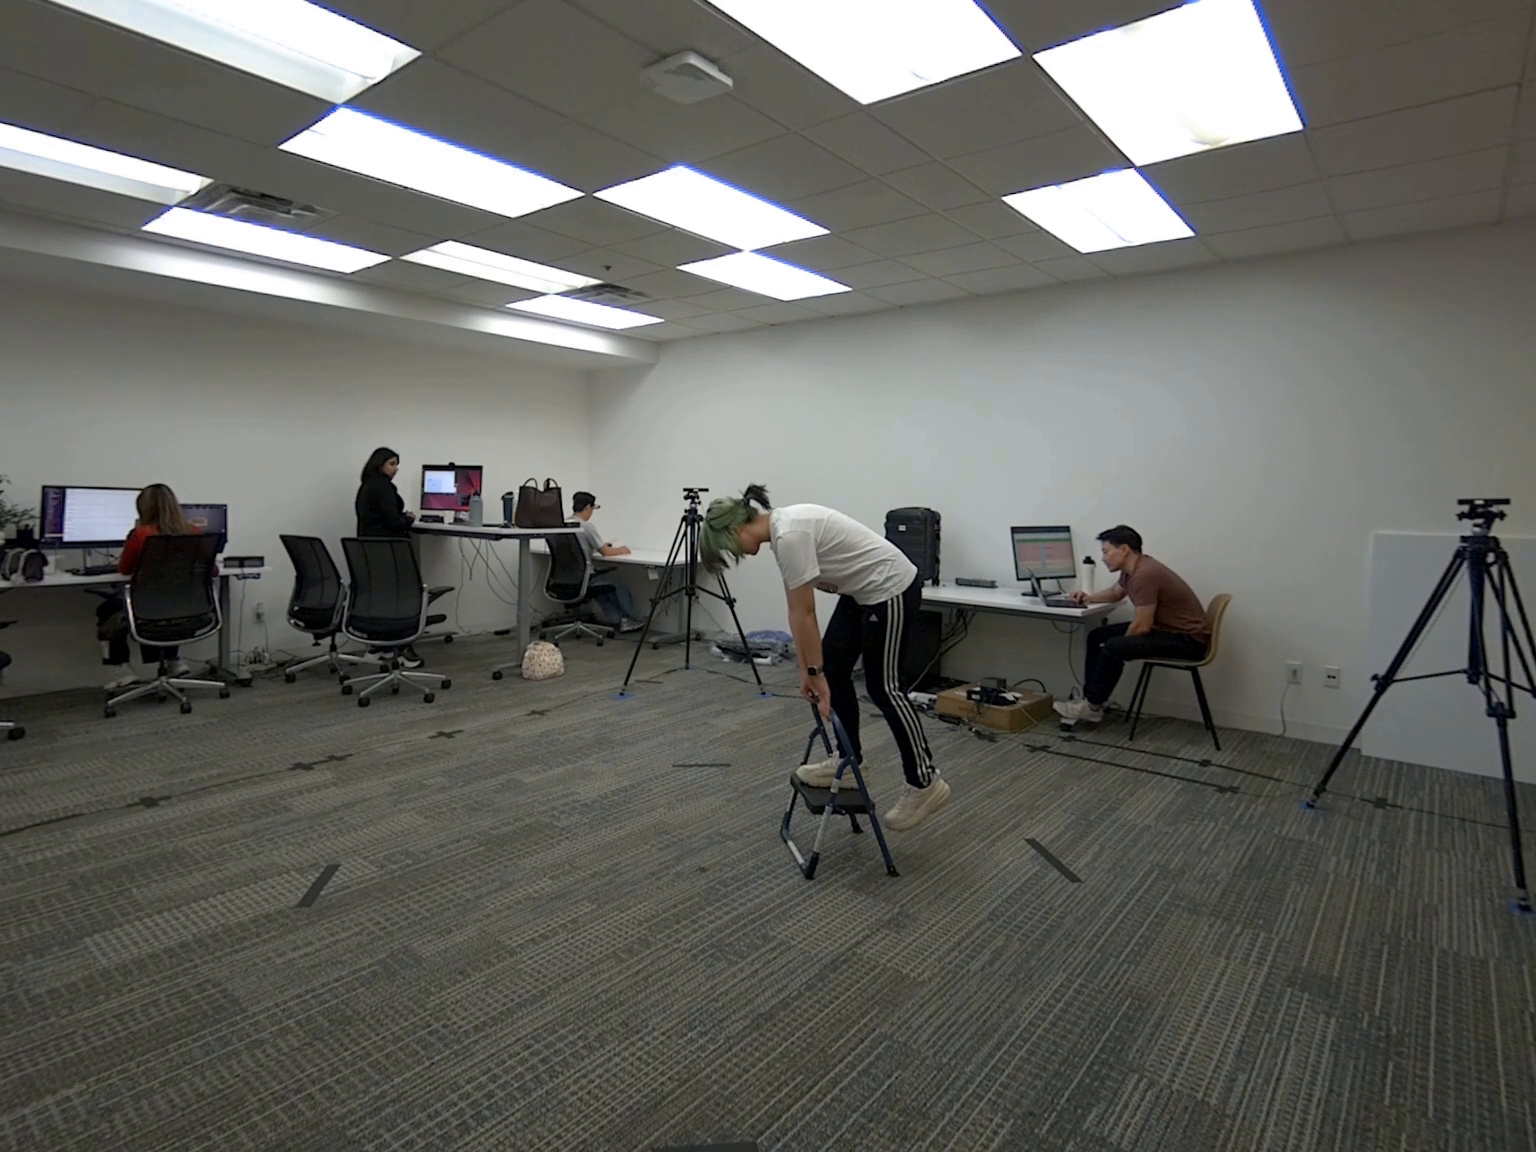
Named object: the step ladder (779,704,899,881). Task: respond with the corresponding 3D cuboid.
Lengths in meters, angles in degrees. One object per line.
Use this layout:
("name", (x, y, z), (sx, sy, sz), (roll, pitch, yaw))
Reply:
("step ladder", (0.261, 0.768, 3.254), (0.345, 0.604, 0.437), (1, 4, -12))
